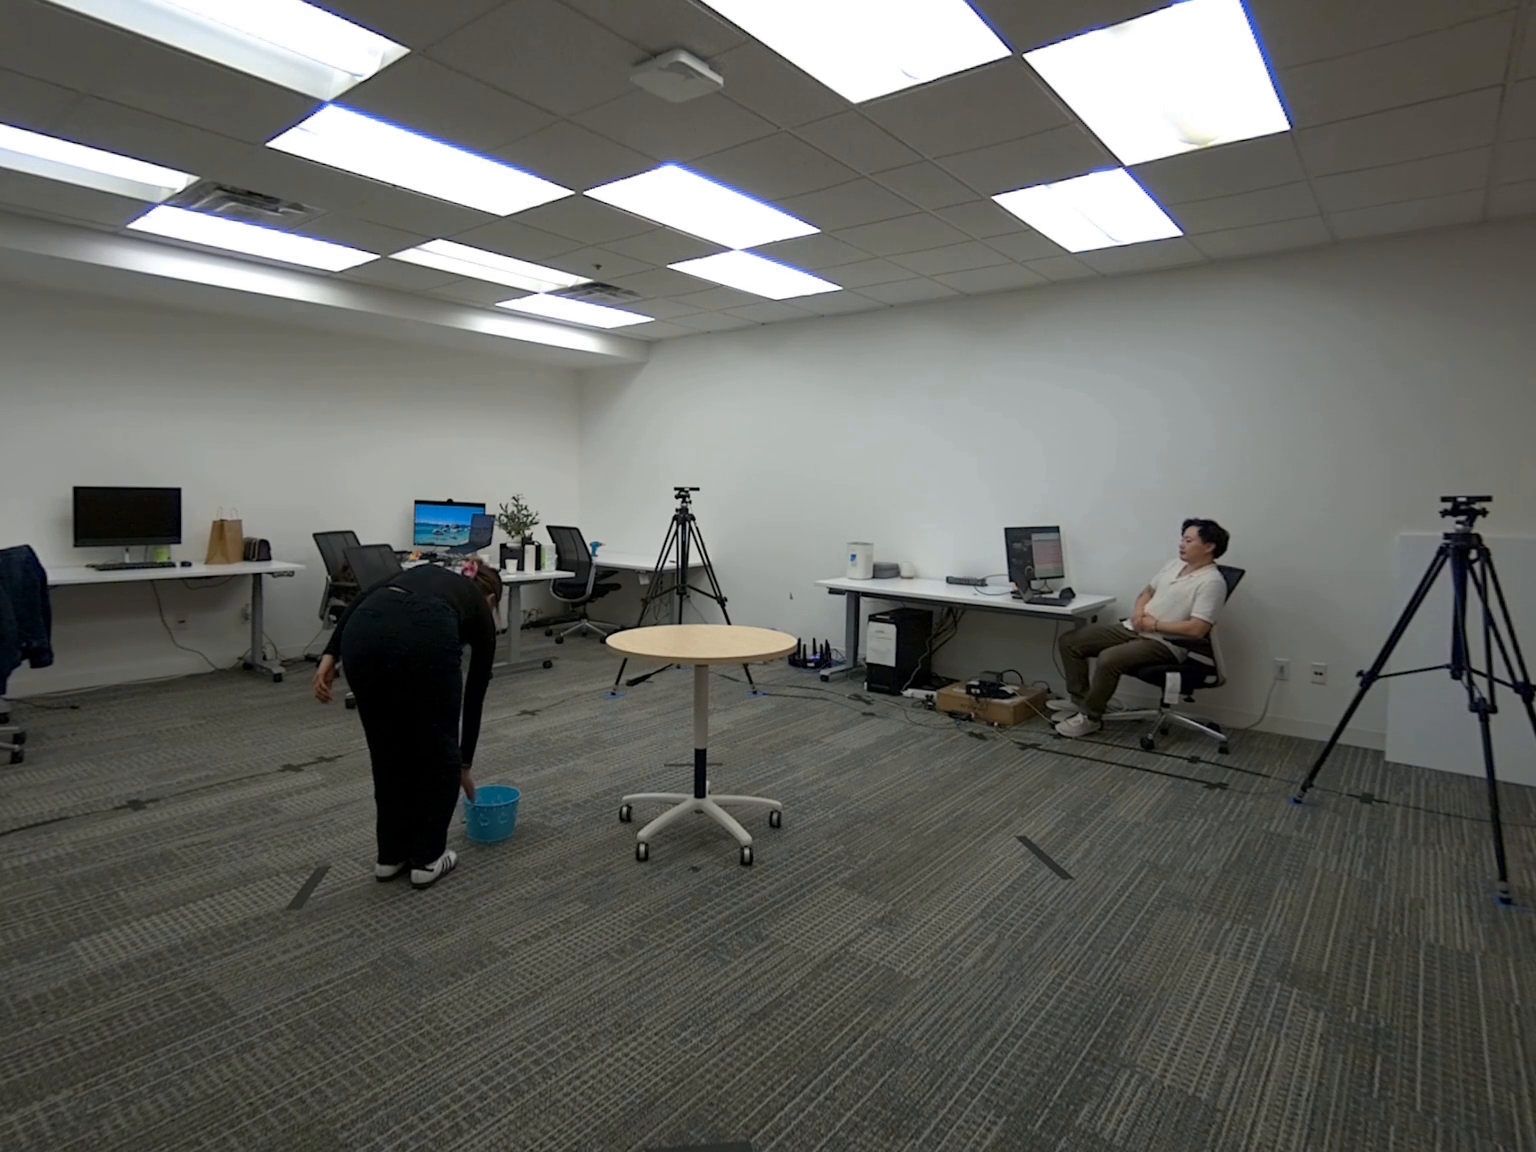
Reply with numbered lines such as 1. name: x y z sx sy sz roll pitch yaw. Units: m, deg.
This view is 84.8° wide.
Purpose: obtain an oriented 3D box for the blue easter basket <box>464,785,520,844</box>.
1. blue easter basket: -1.126 0.949 3.403 0.243 0.155 0.245 0 5 -2
